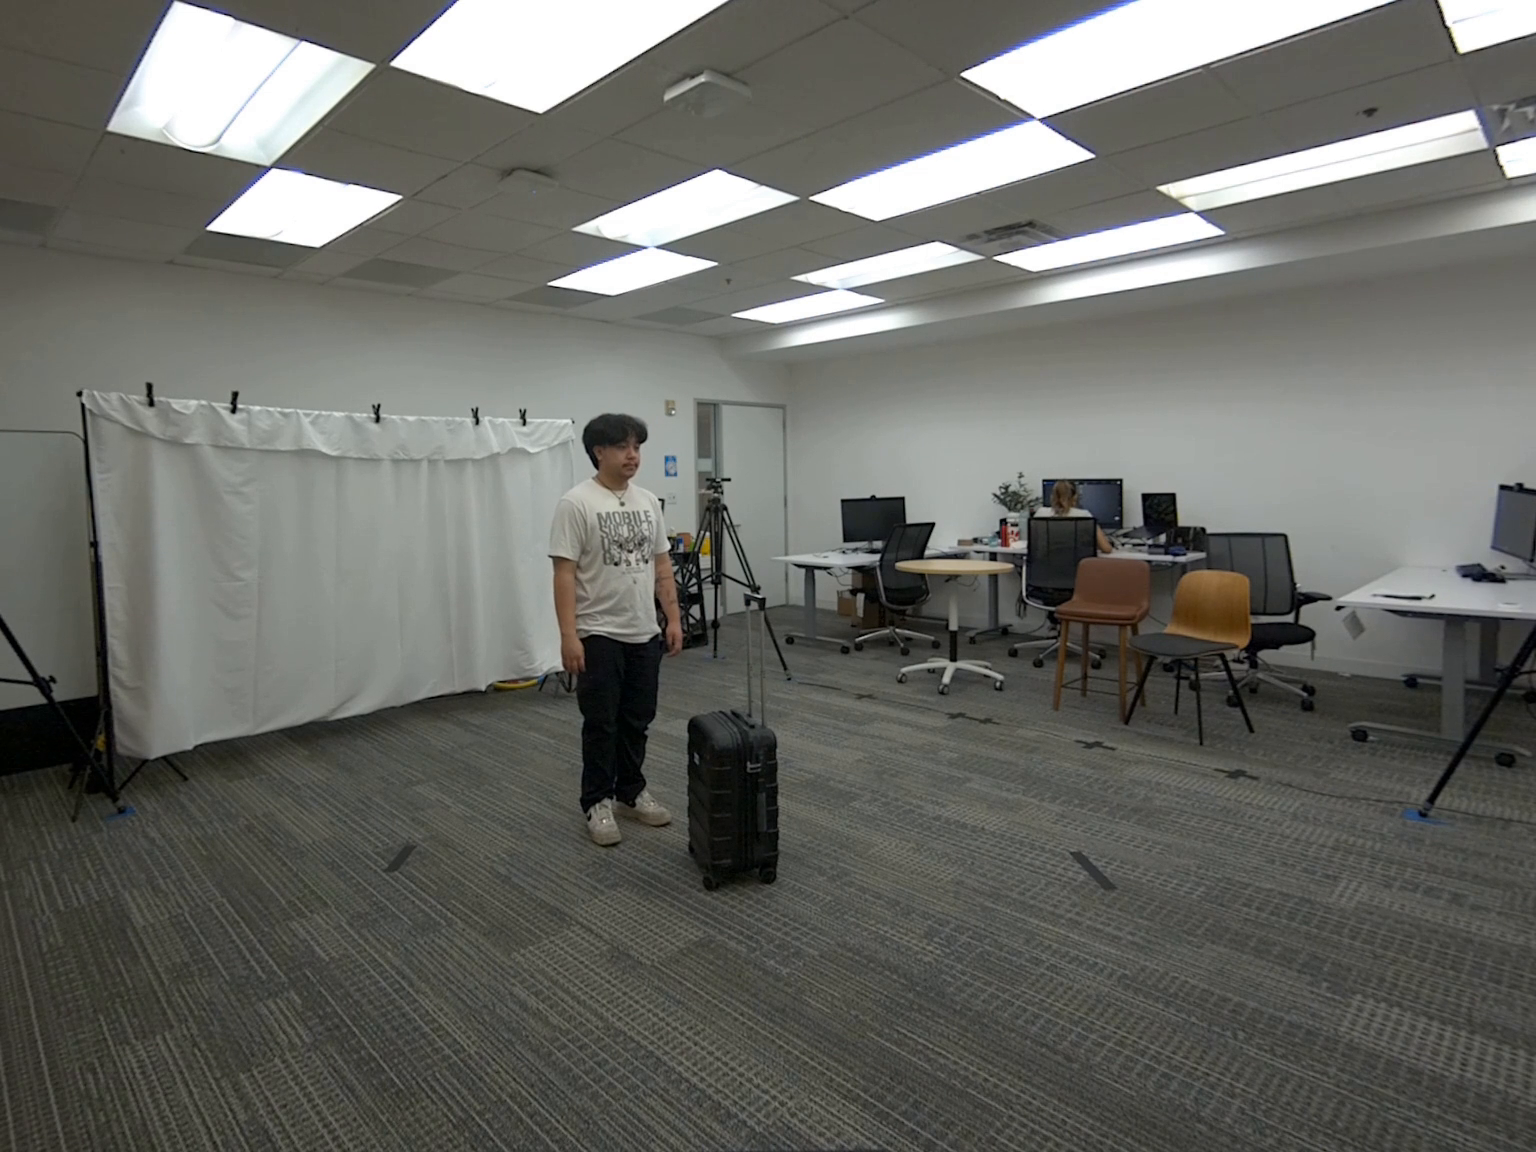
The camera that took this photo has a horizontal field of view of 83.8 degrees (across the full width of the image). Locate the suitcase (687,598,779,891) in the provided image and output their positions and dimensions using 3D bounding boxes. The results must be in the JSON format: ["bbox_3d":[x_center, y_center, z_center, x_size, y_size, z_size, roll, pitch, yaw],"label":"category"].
[{"bbox_3d":[-0.135,0.574,3.041,0.253,0.975,0.391,-3,4,-17],"label":"suitcase"}]
